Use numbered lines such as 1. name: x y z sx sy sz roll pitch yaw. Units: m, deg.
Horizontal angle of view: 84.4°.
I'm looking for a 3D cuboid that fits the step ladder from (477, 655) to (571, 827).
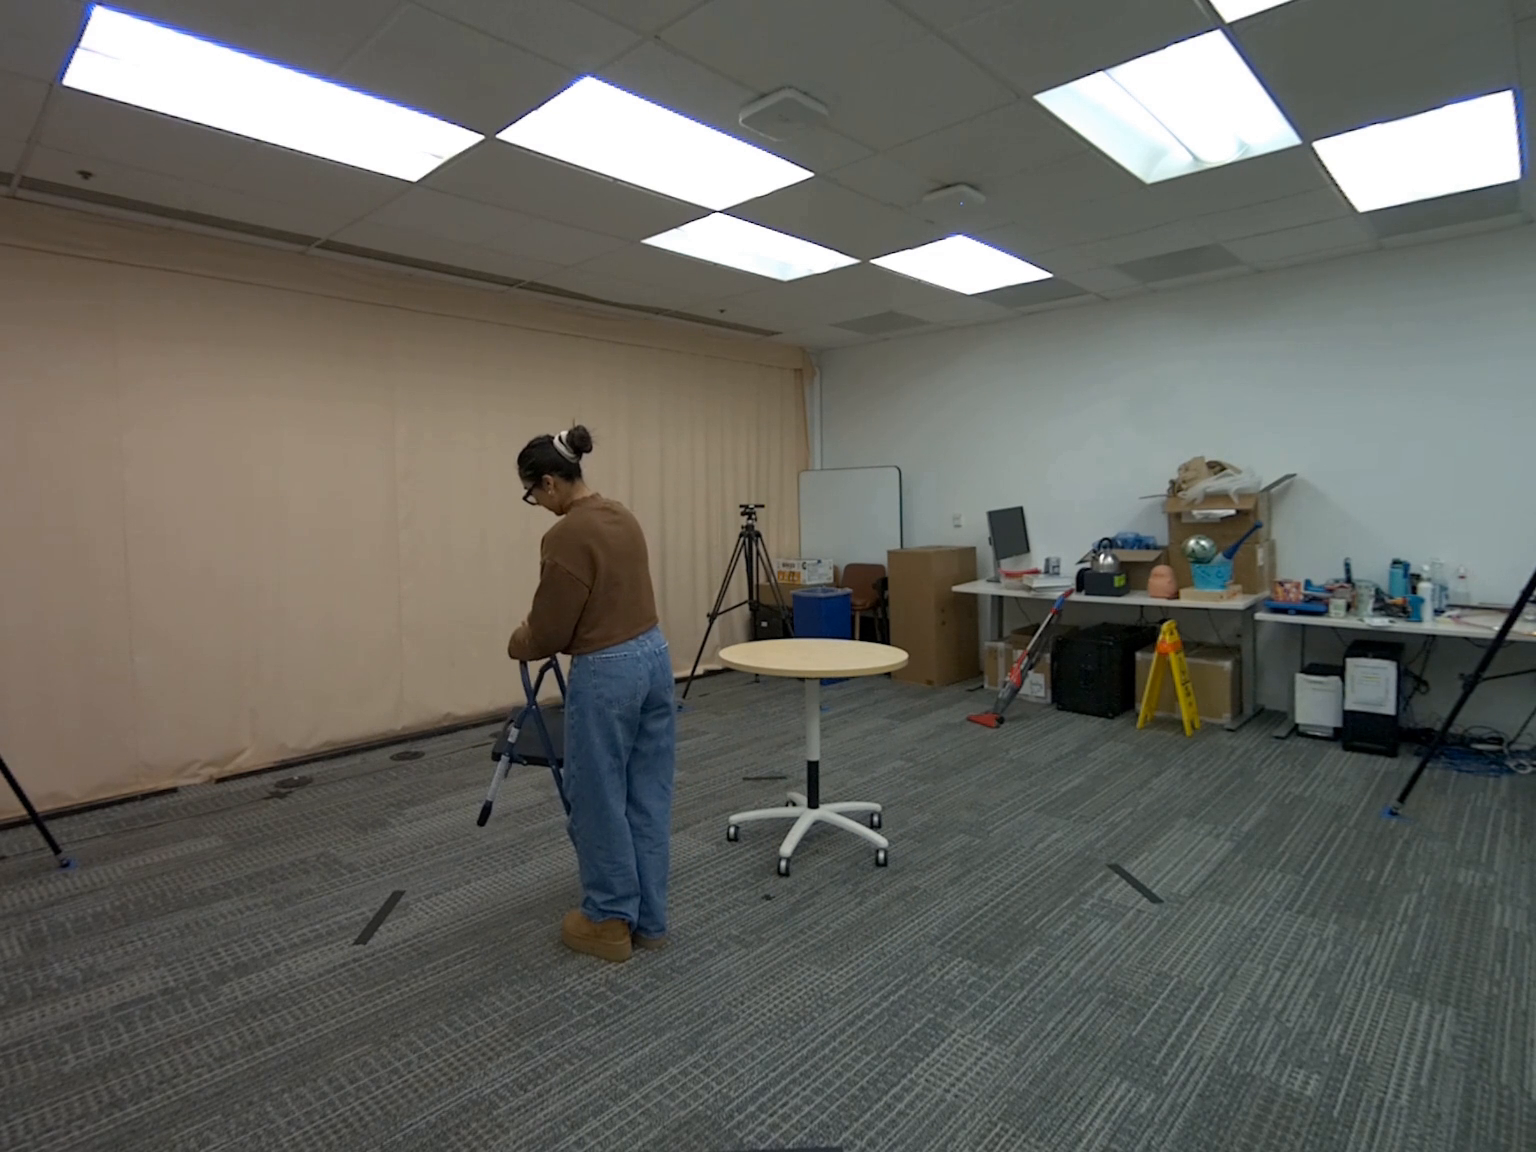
1. step ladder: -0.760 0.502 2.883 0.347 0.602 0.436 6 14 -6
